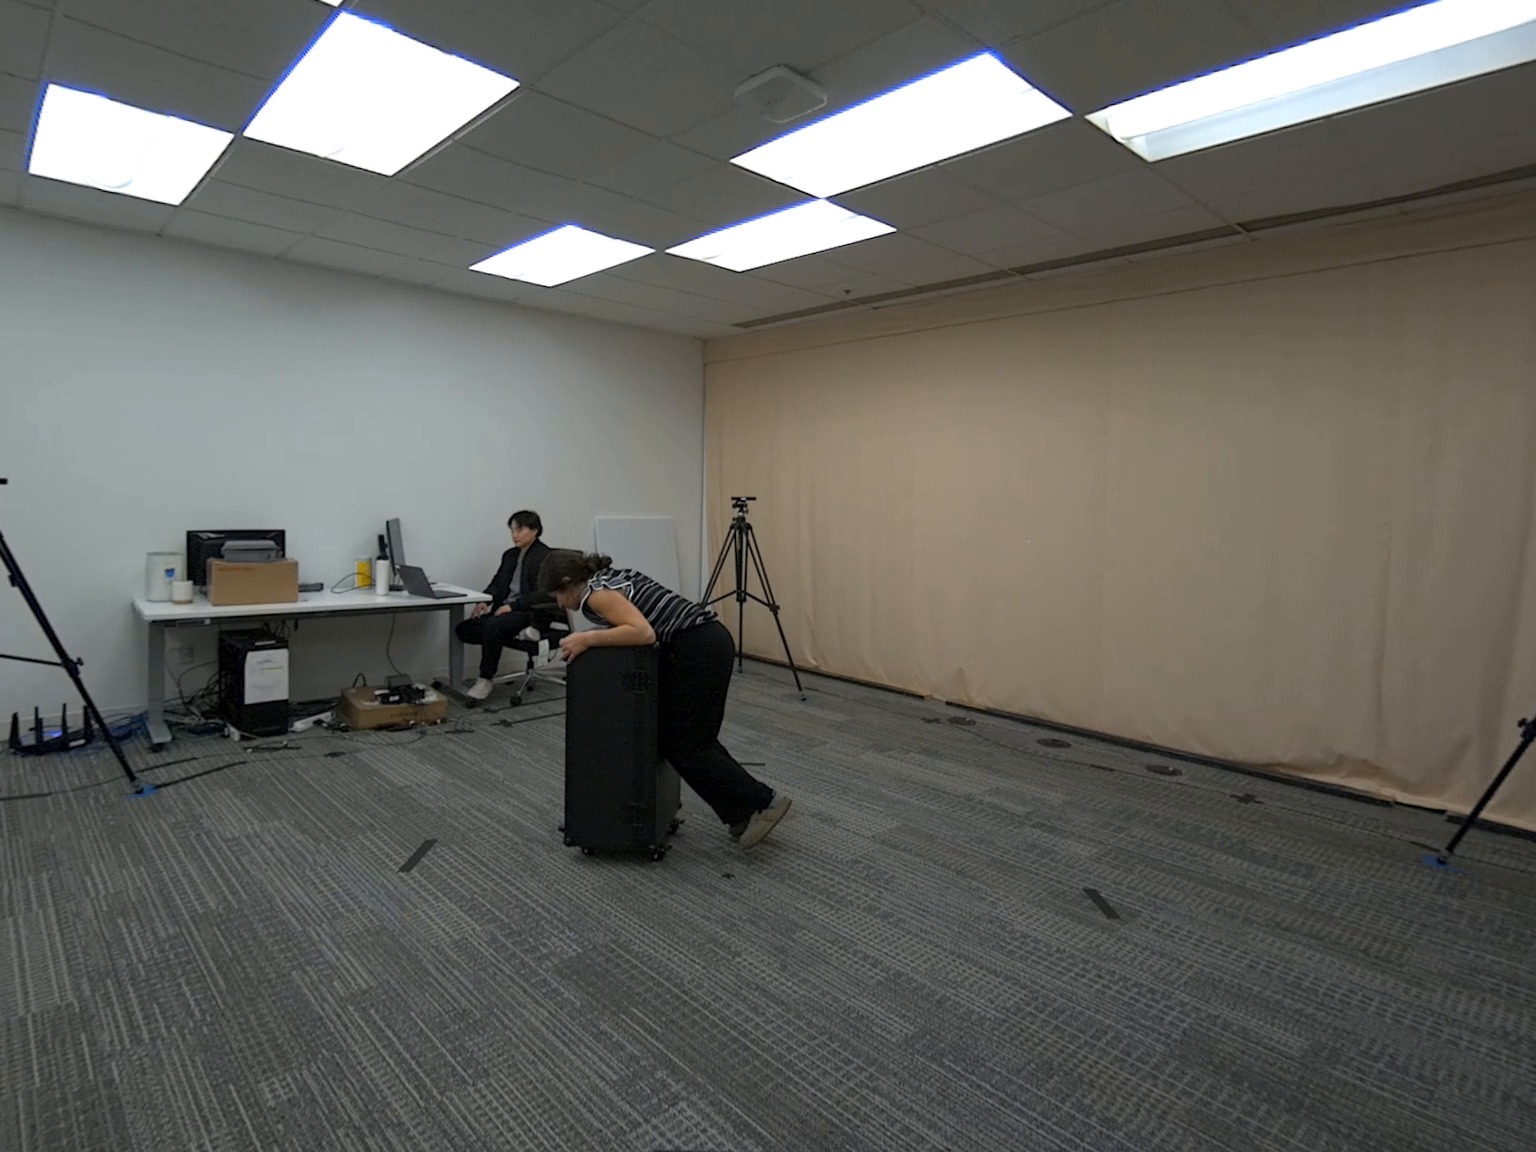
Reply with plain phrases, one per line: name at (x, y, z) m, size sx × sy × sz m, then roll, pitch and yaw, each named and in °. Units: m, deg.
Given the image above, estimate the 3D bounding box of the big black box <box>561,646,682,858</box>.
big black box at (-0.583, 0.661, 3.356) m, size 0.398 × 0.860 × 0.519 m, roll 1°, pitch 3°, yaw 6°
